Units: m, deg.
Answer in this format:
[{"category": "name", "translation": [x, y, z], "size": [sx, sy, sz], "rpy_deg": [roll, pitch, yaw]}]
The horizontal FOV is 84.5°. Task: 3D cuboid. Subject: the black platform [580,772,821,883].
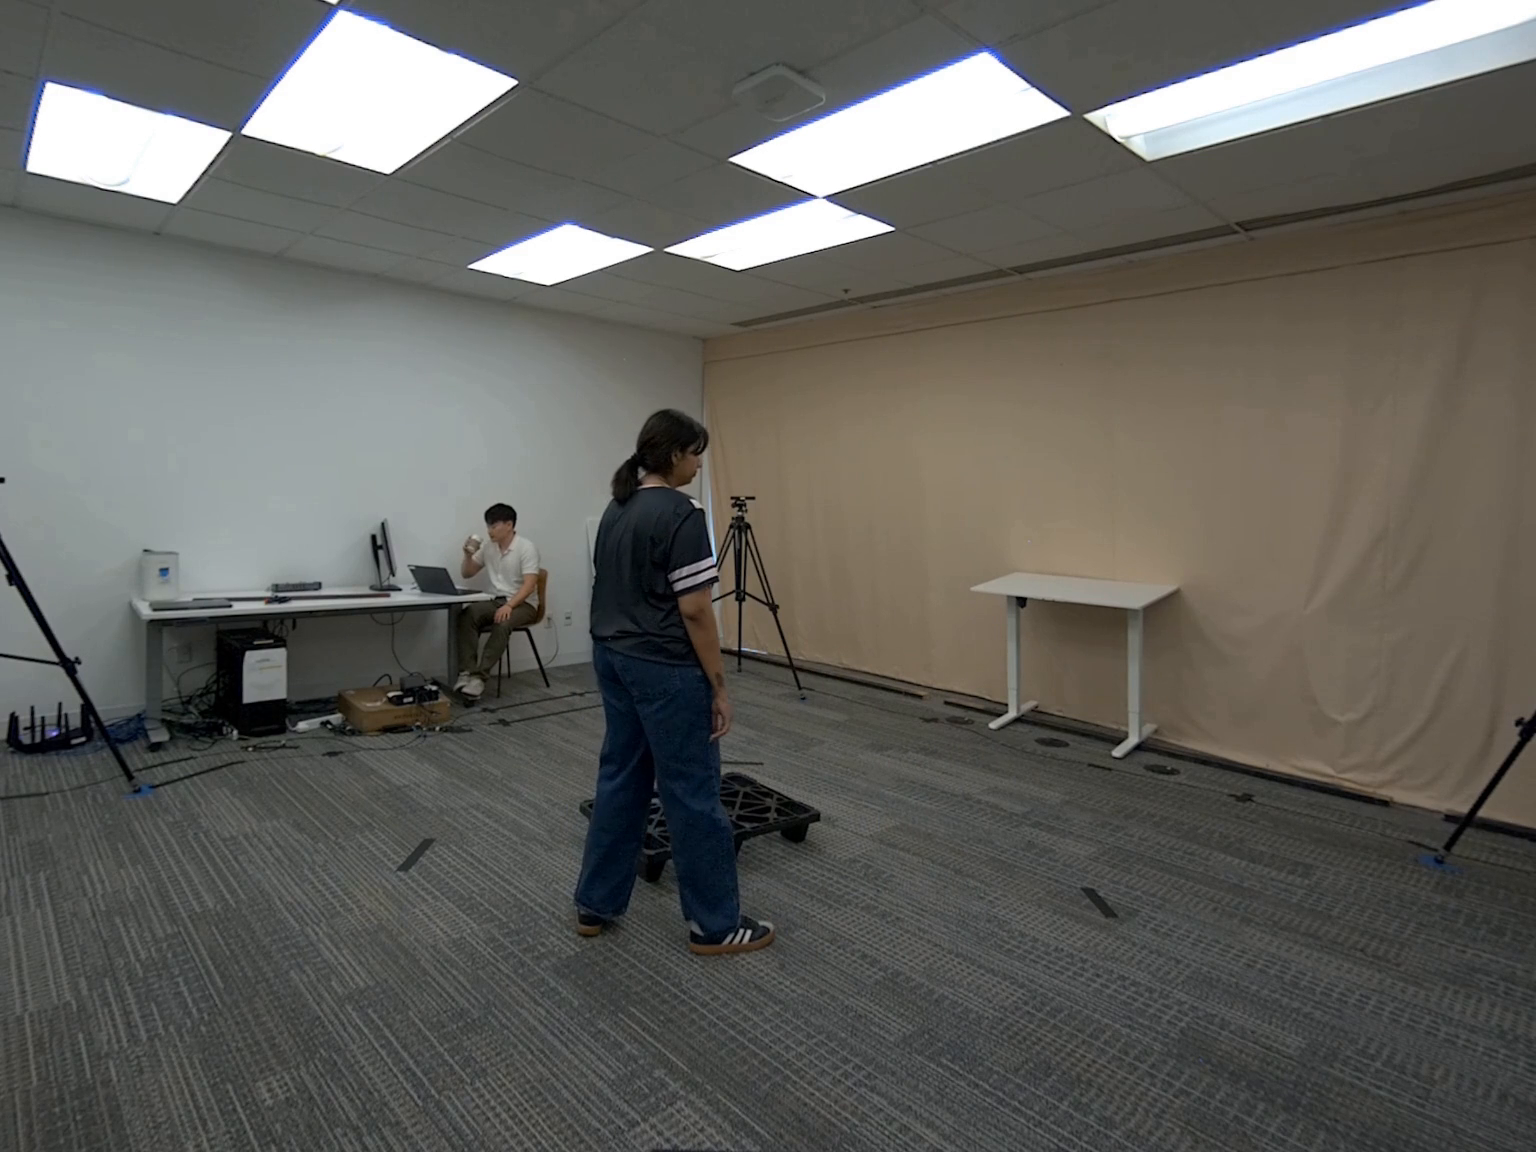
[{"category": "black platform", "translation": [-0.290, 1.008, 3.419], "size": [0.788, 0.143, 0.620], "rpy_deg": [-2, 5, -36]}]
